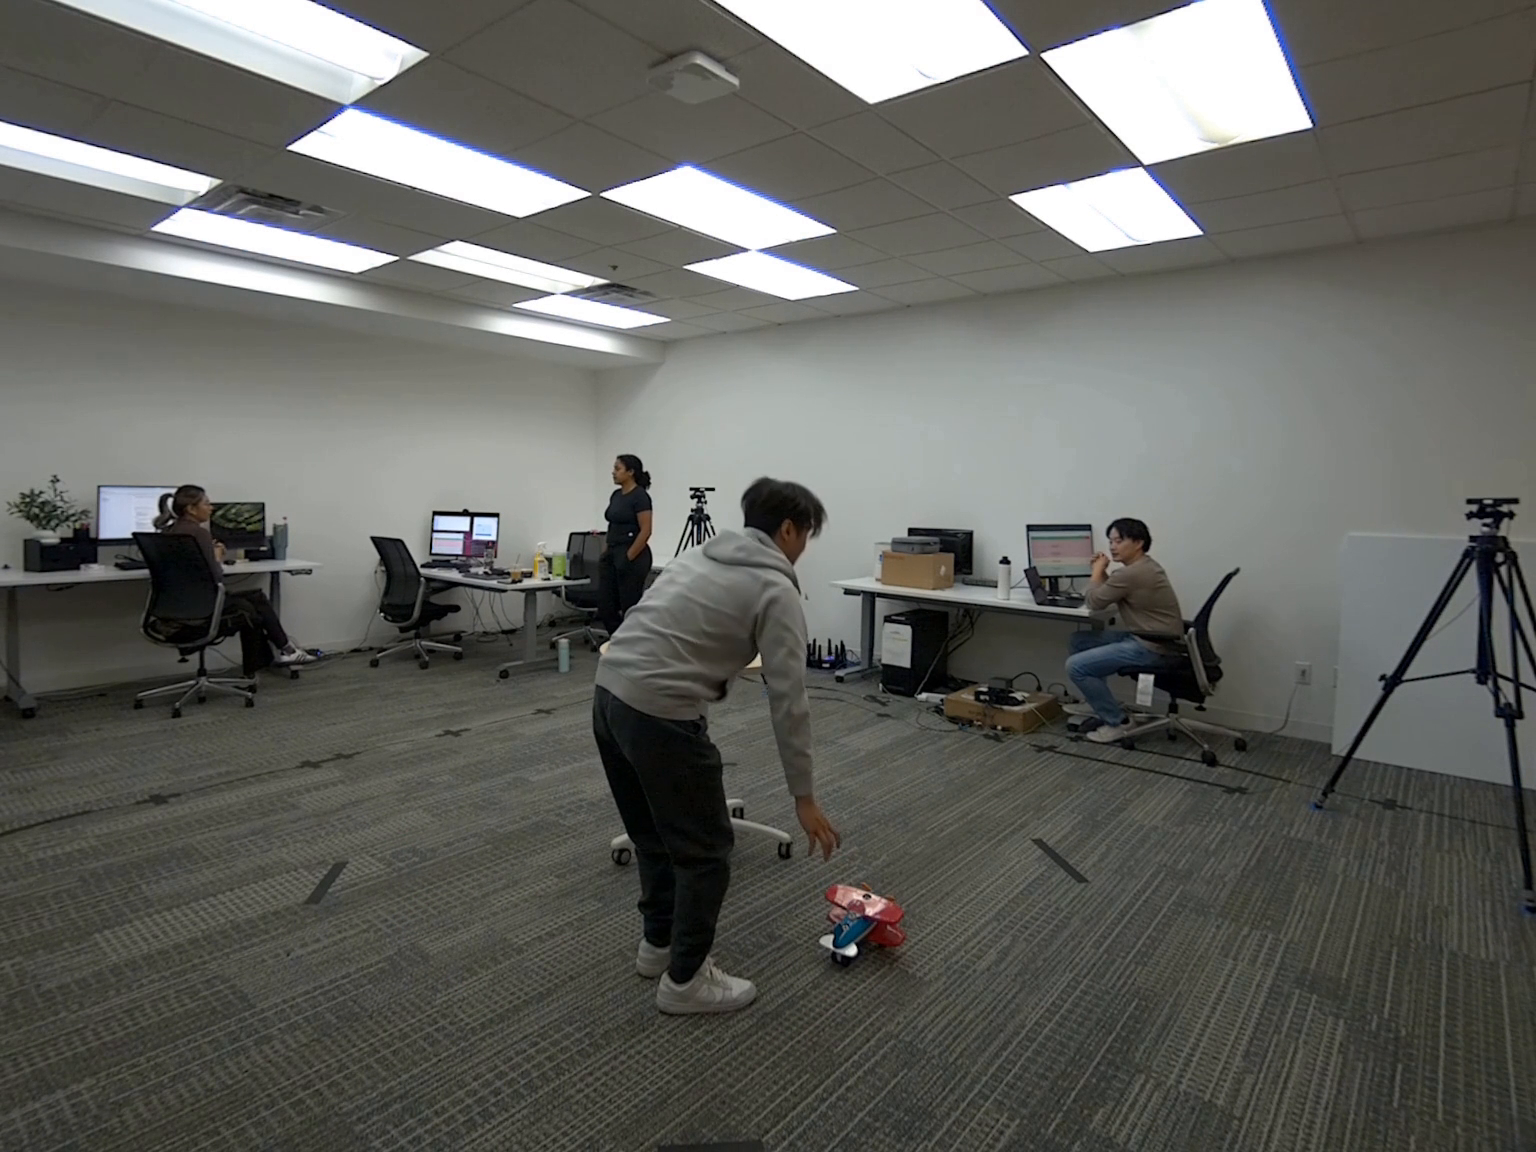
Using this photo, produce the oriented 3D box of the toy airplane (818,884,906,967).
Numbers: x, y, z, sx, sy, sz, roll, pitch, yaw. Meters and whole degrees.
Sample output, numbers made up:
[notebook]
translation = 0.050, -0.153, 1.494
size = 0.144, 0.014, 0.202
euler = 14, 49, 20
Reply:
[toy airplane]
translation = 0.285, 1.056, 2.564
size = 0.254, 0.156, 0.257
euler = 4, 4, 10
